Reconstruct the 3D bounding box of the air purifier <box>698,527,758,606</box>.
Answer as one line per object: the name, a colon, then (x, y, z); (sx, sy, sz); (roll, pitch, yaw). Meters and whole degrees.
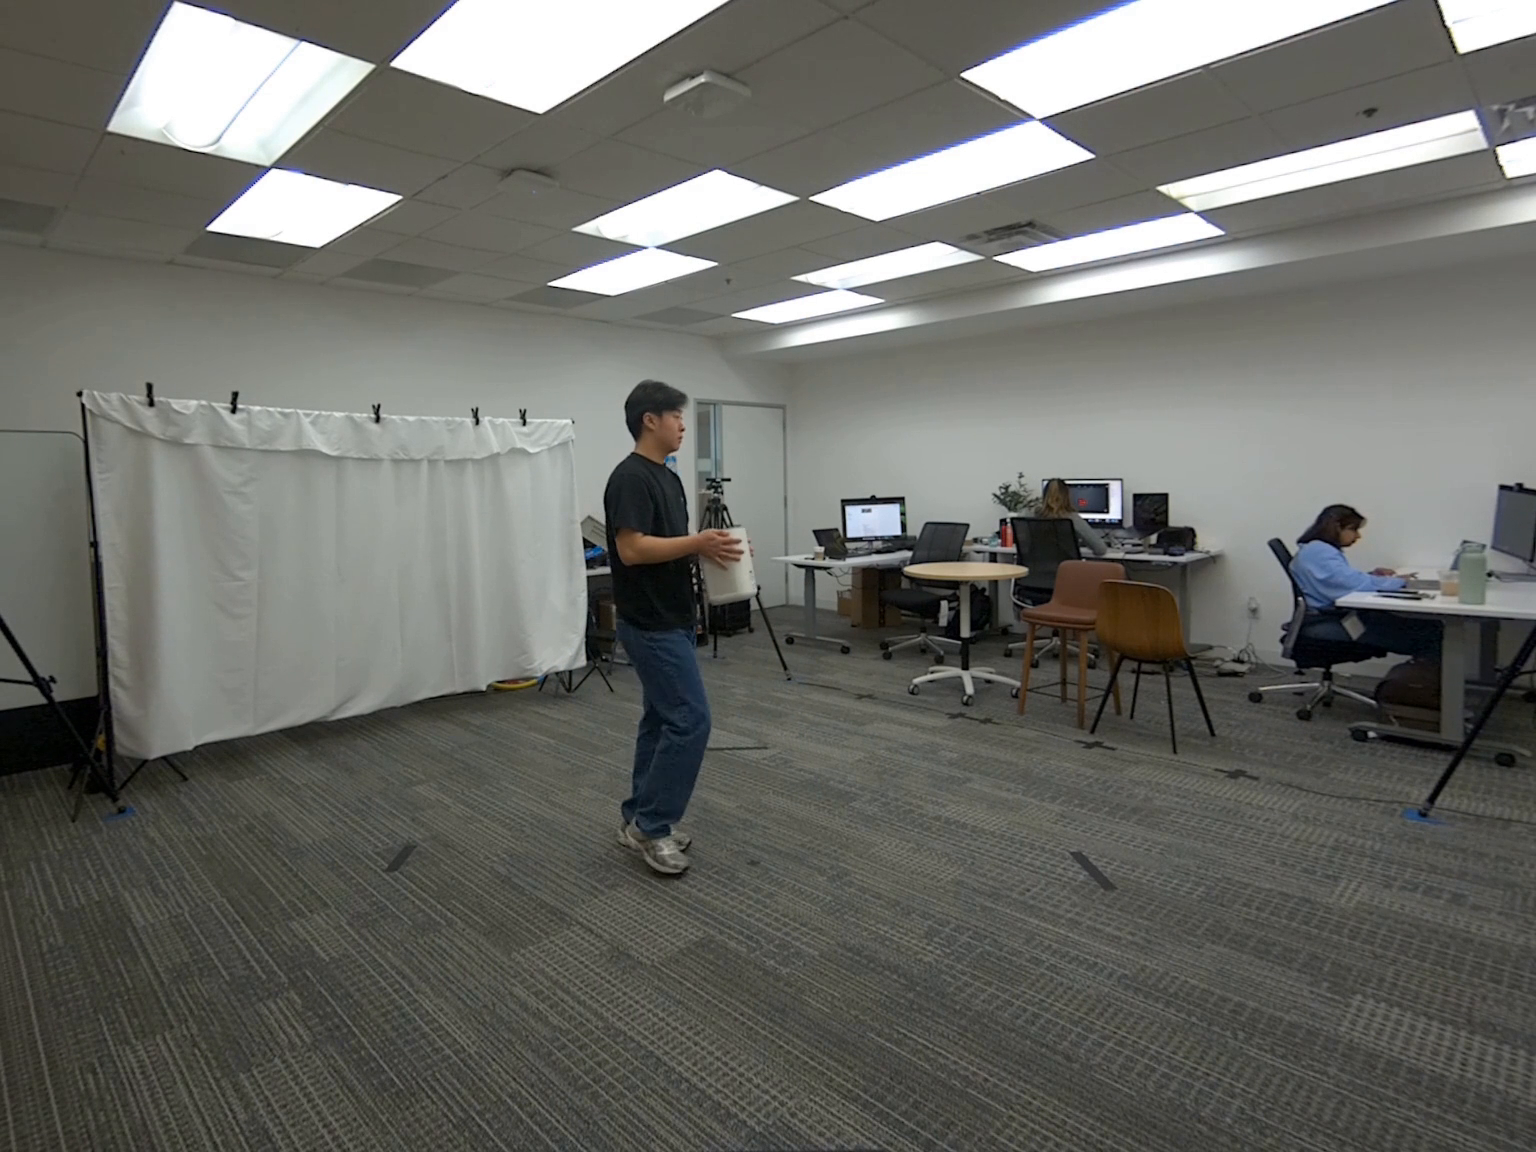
air purifier: (-0.151, -0.035, 3.146); (0.173, 0.266, 0.168); (-13, -3, 15)
